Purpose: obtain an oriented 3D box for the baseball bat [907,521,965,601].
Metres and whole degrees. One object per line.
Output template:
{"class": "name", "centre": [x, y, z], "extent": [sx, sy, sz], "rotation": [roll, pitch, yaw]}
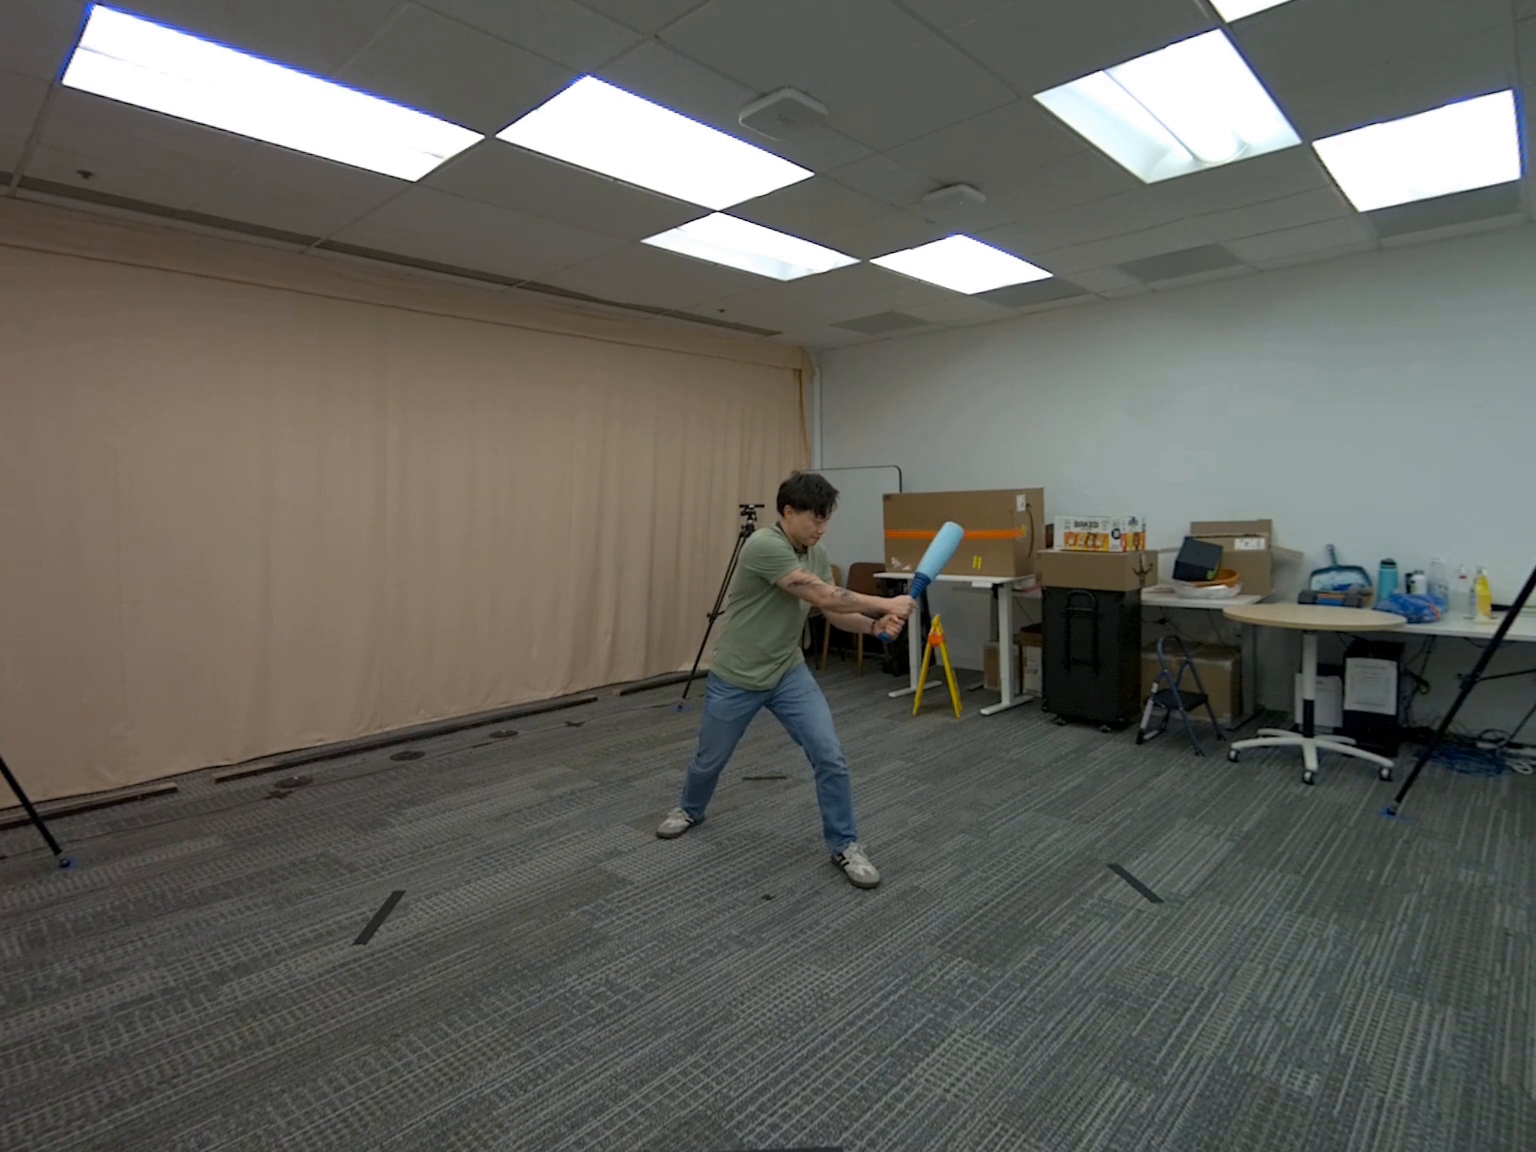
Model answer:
{"class": "baseball bat", "centre": [0.575, 0.023, 3.139], "extent": [0.090, 0.542, 0.088], "rotation": [33, -16, 9]}
